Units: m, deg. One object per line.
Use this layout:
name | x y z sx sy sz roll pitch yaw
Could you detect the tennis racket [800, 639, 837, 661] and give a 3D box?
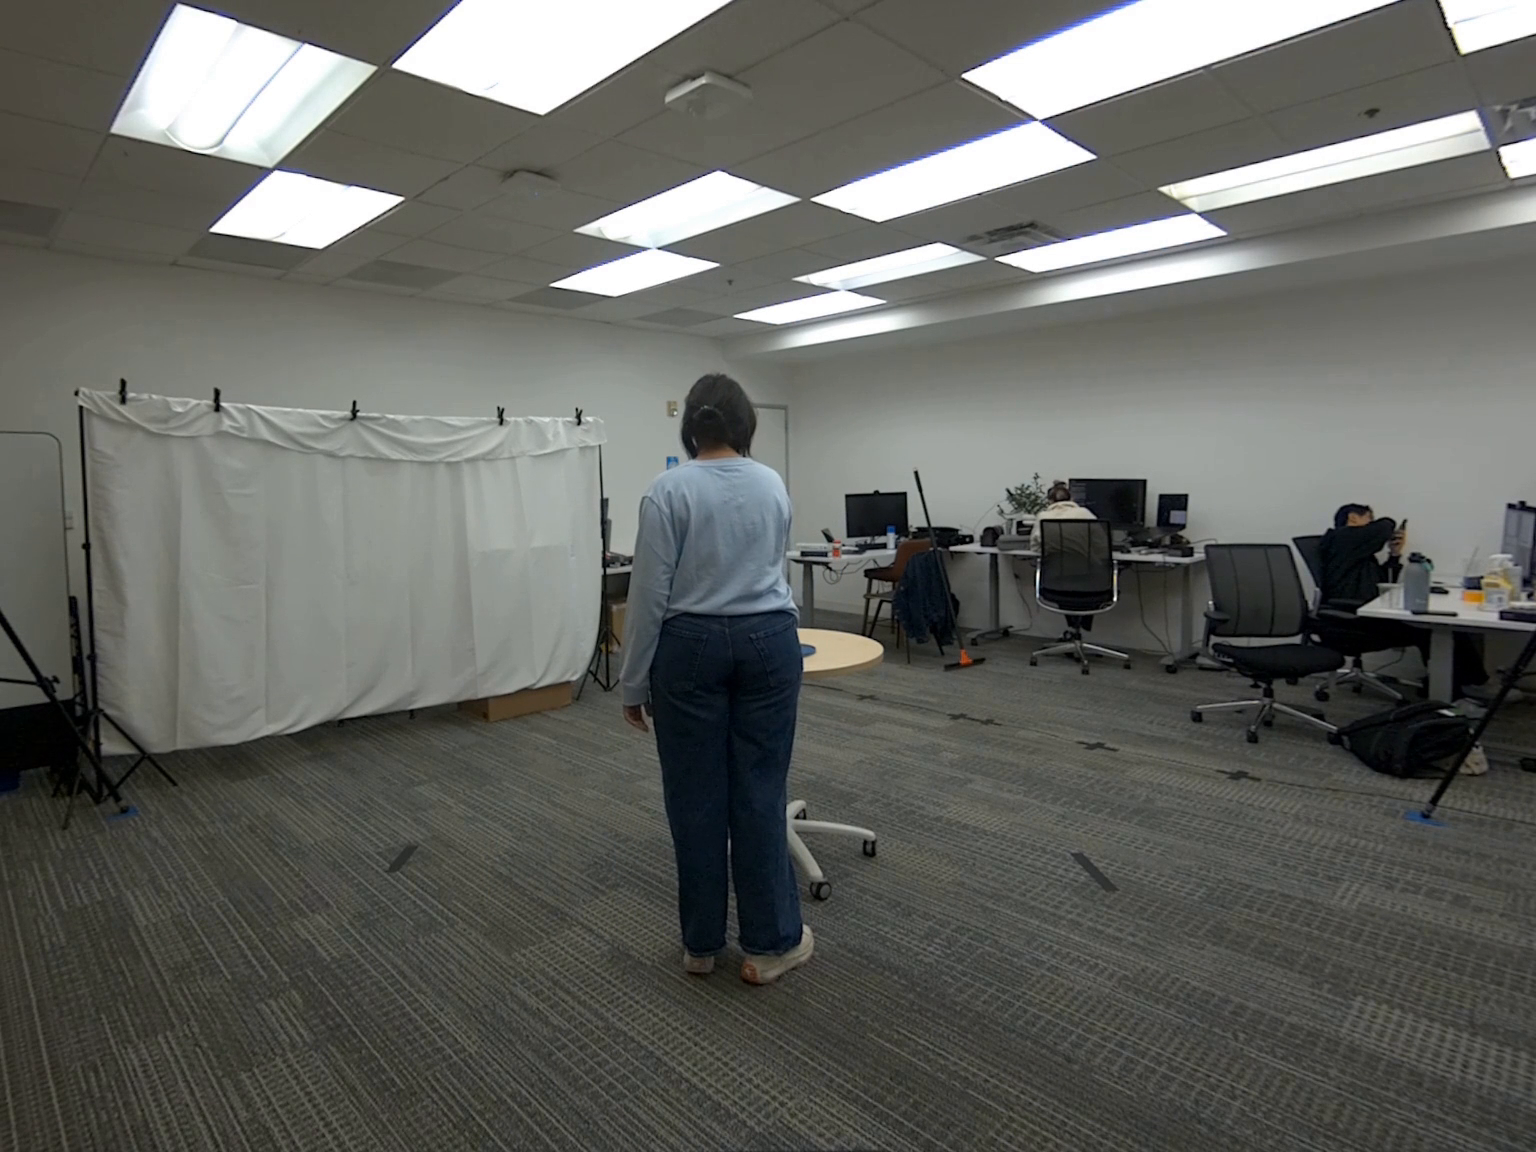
tennis racket | 0.011 0.267 2.955 0.421 0.031 0.220 -6 7 -44
